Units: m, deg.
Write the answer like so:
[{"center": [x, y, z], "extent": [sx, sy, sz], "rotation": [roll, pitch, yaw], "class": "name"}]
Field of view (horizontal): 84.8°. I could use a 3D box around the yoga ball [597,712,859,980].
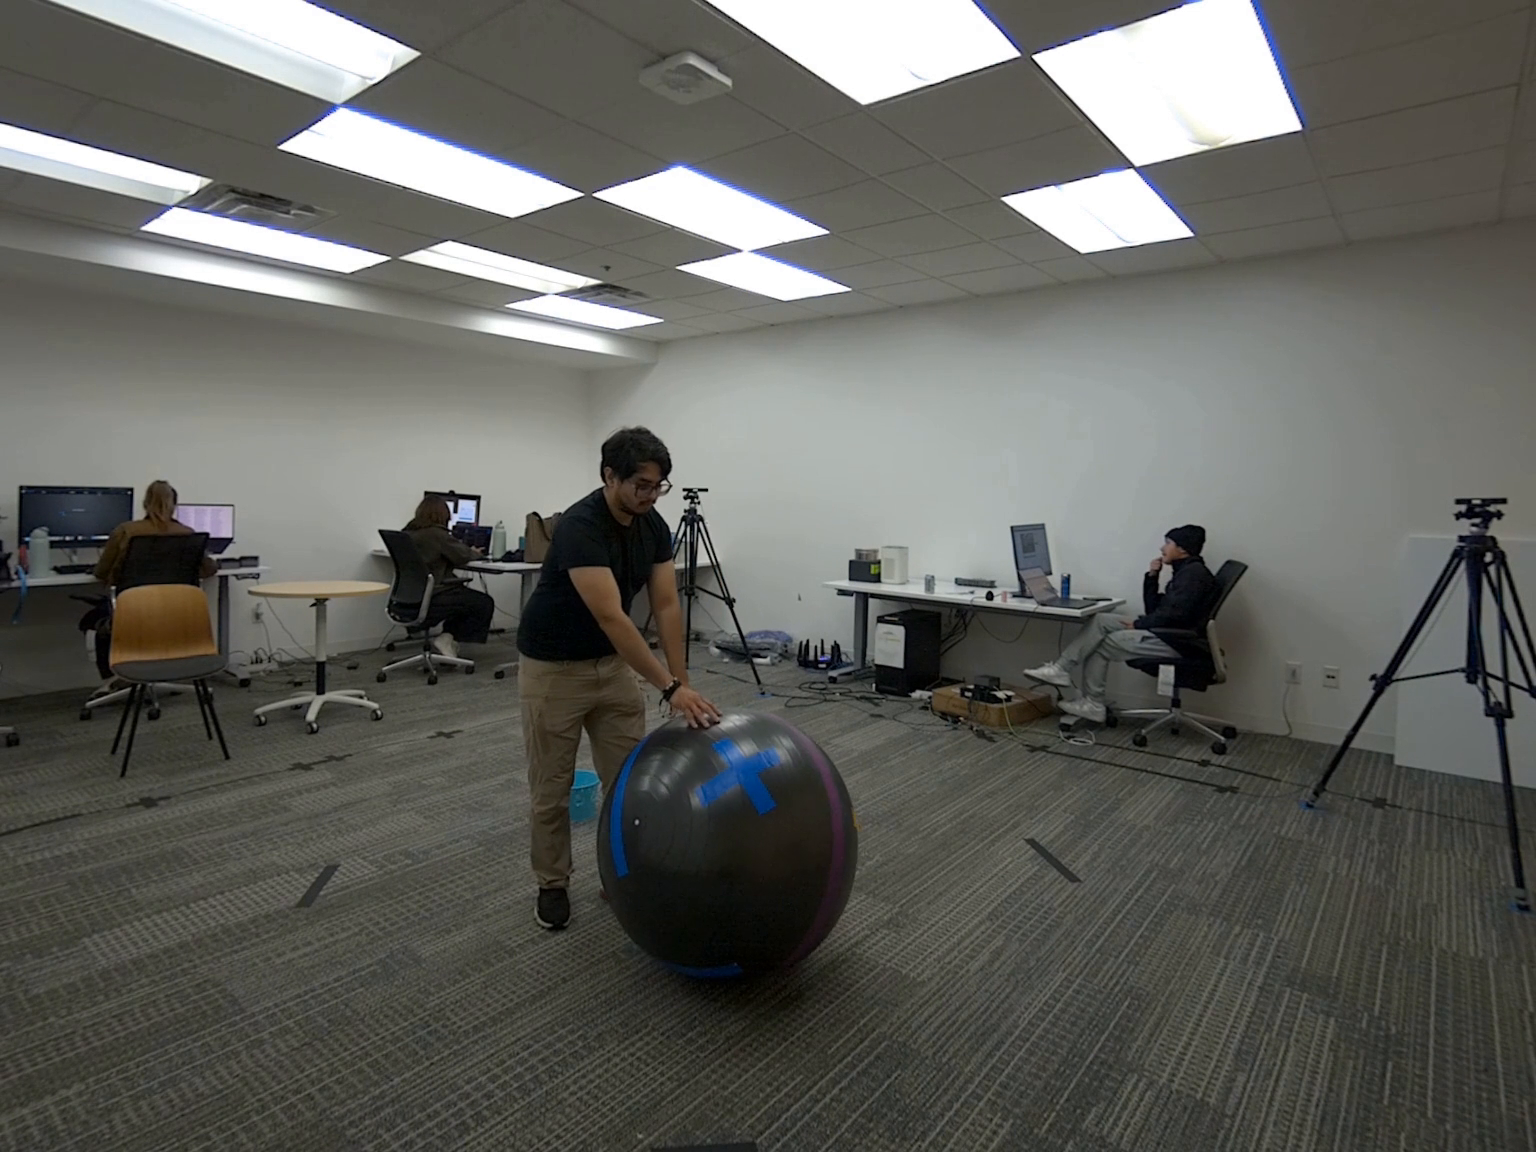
[{"center": [-0.121, 0.768, 2.476], "extent": [0.757, 0.755, 0.762], "rotation": [1, 4, -2], "class": "yoga ball"}]
